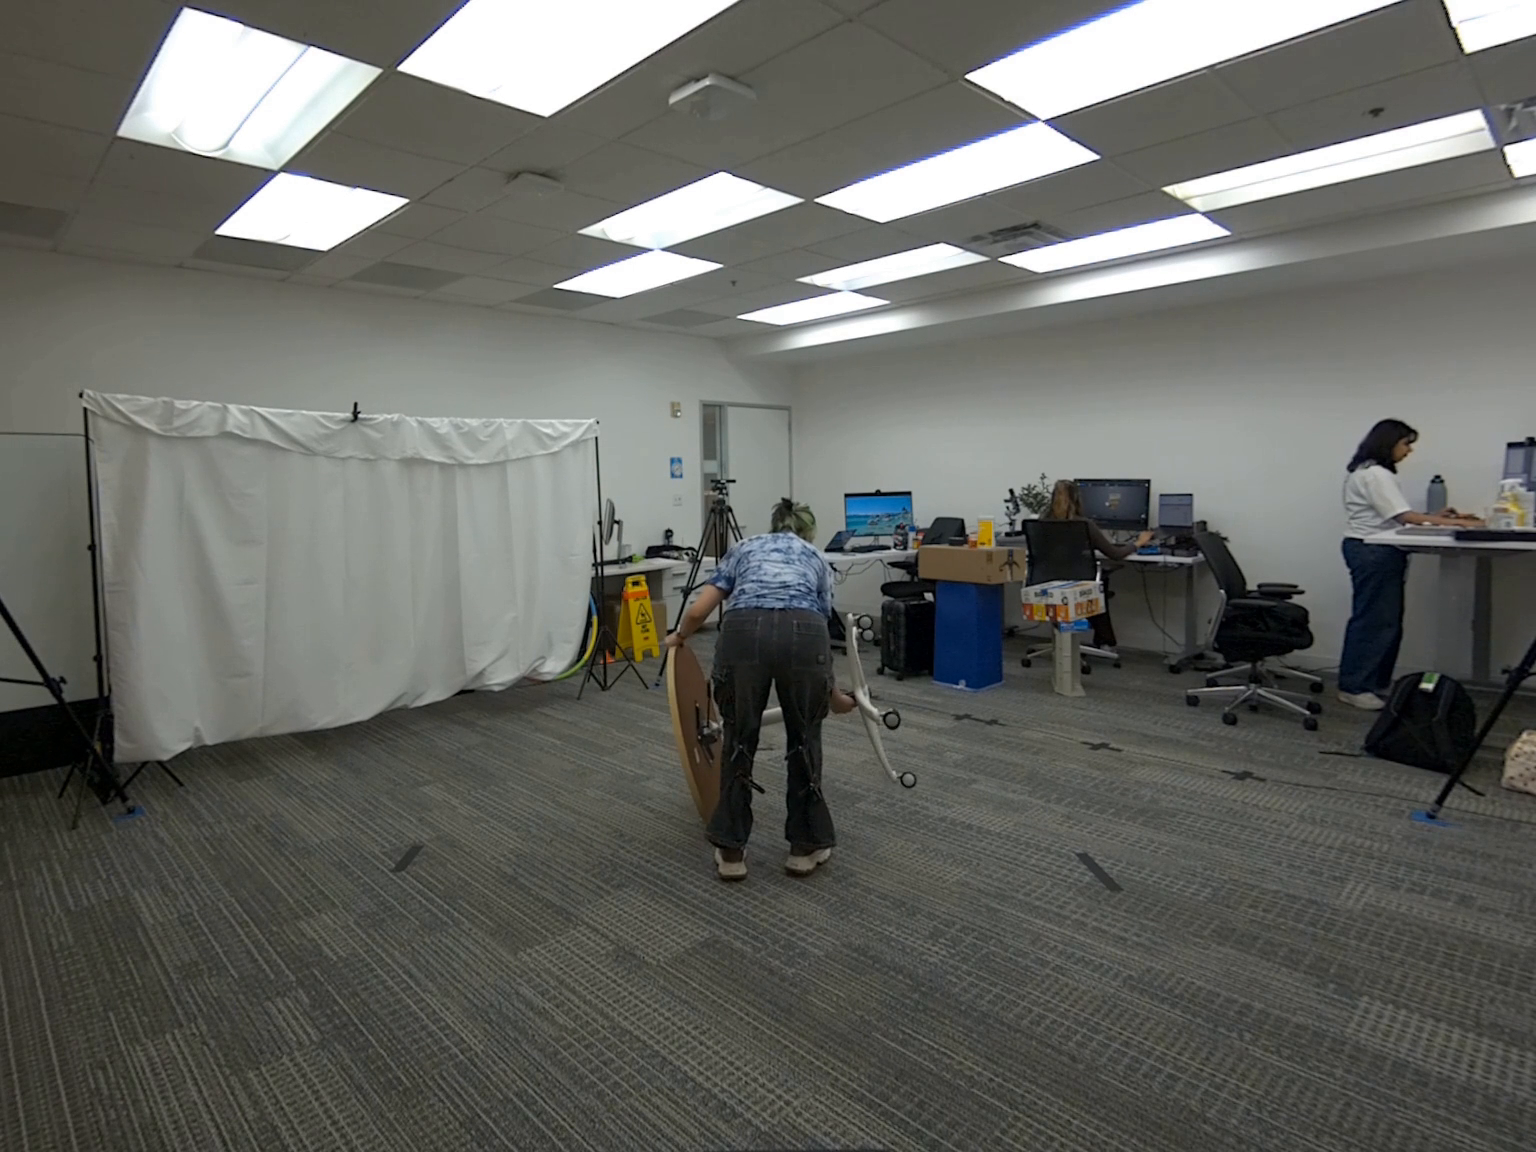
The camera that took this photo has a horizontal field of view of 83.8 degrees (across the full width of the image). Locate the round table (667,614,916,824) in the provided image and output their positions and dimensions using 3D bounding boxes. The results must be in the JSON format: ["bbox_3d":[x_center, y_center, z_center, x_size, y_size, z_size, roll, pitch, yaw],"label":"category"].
[{"bbox_3d":[0.112,0.550,3.377,0.797,0.762,0.763,-14,3,5],"label":"round table"}]
